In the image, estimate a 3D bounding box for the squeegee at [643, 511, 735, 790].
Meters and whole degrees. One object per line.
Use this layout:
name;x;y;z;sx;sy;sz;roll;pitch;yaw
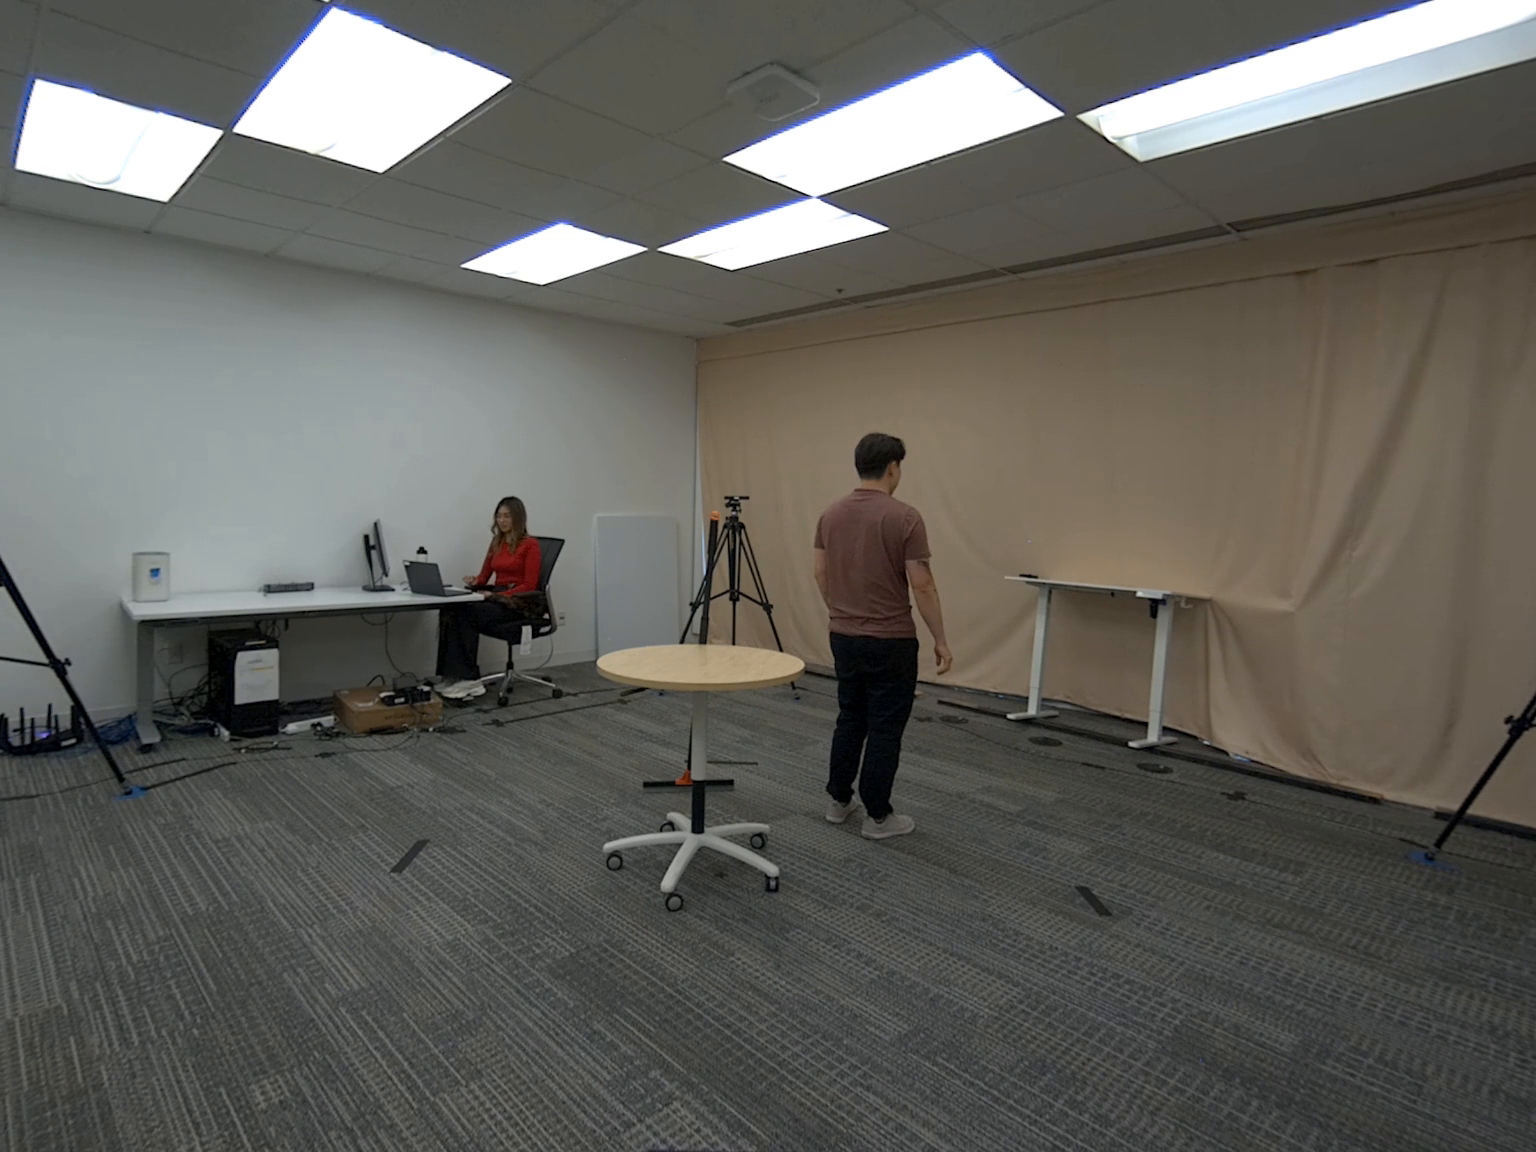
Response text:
squeegee;-0.300;0.369;3.595;0.435;1.510;0.054;3;33;-6
